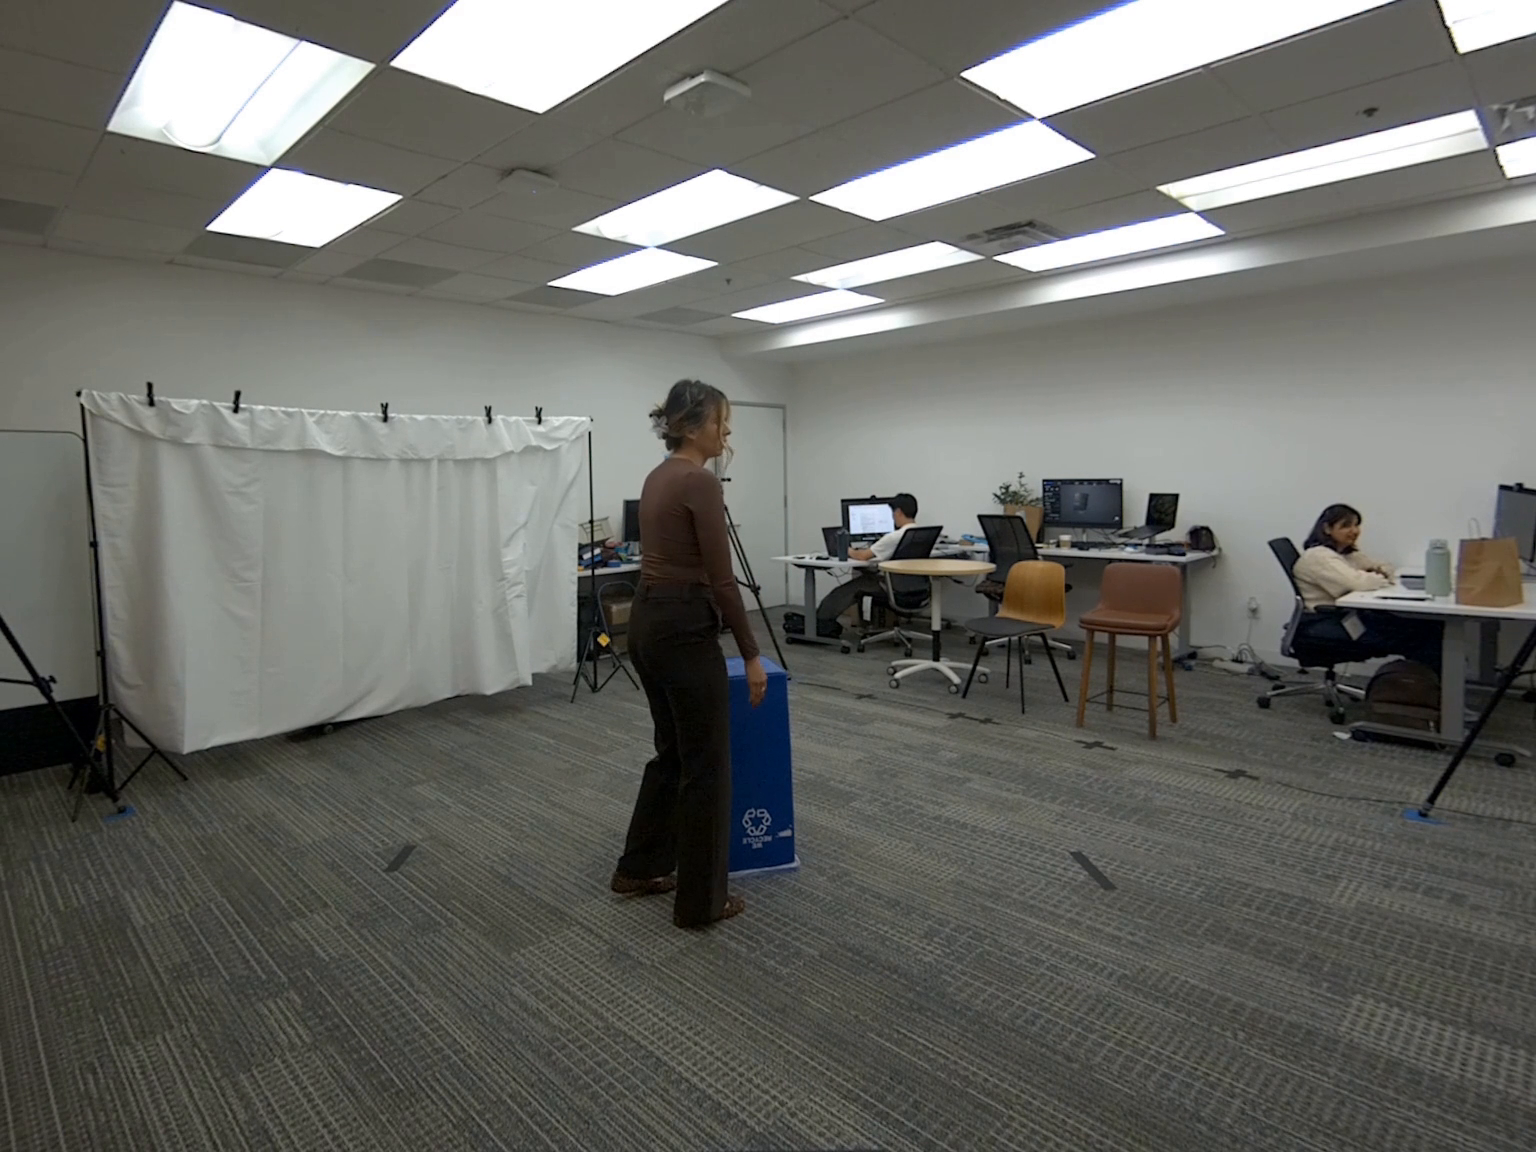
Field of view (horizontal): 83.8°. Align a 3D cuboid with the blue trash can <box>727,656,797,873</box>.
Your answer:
[{"bbox_3d":[-0.115,0.682,3.155,0.369,0.711,0.385,-3,5,-15],"label":"blue trash can"}]
